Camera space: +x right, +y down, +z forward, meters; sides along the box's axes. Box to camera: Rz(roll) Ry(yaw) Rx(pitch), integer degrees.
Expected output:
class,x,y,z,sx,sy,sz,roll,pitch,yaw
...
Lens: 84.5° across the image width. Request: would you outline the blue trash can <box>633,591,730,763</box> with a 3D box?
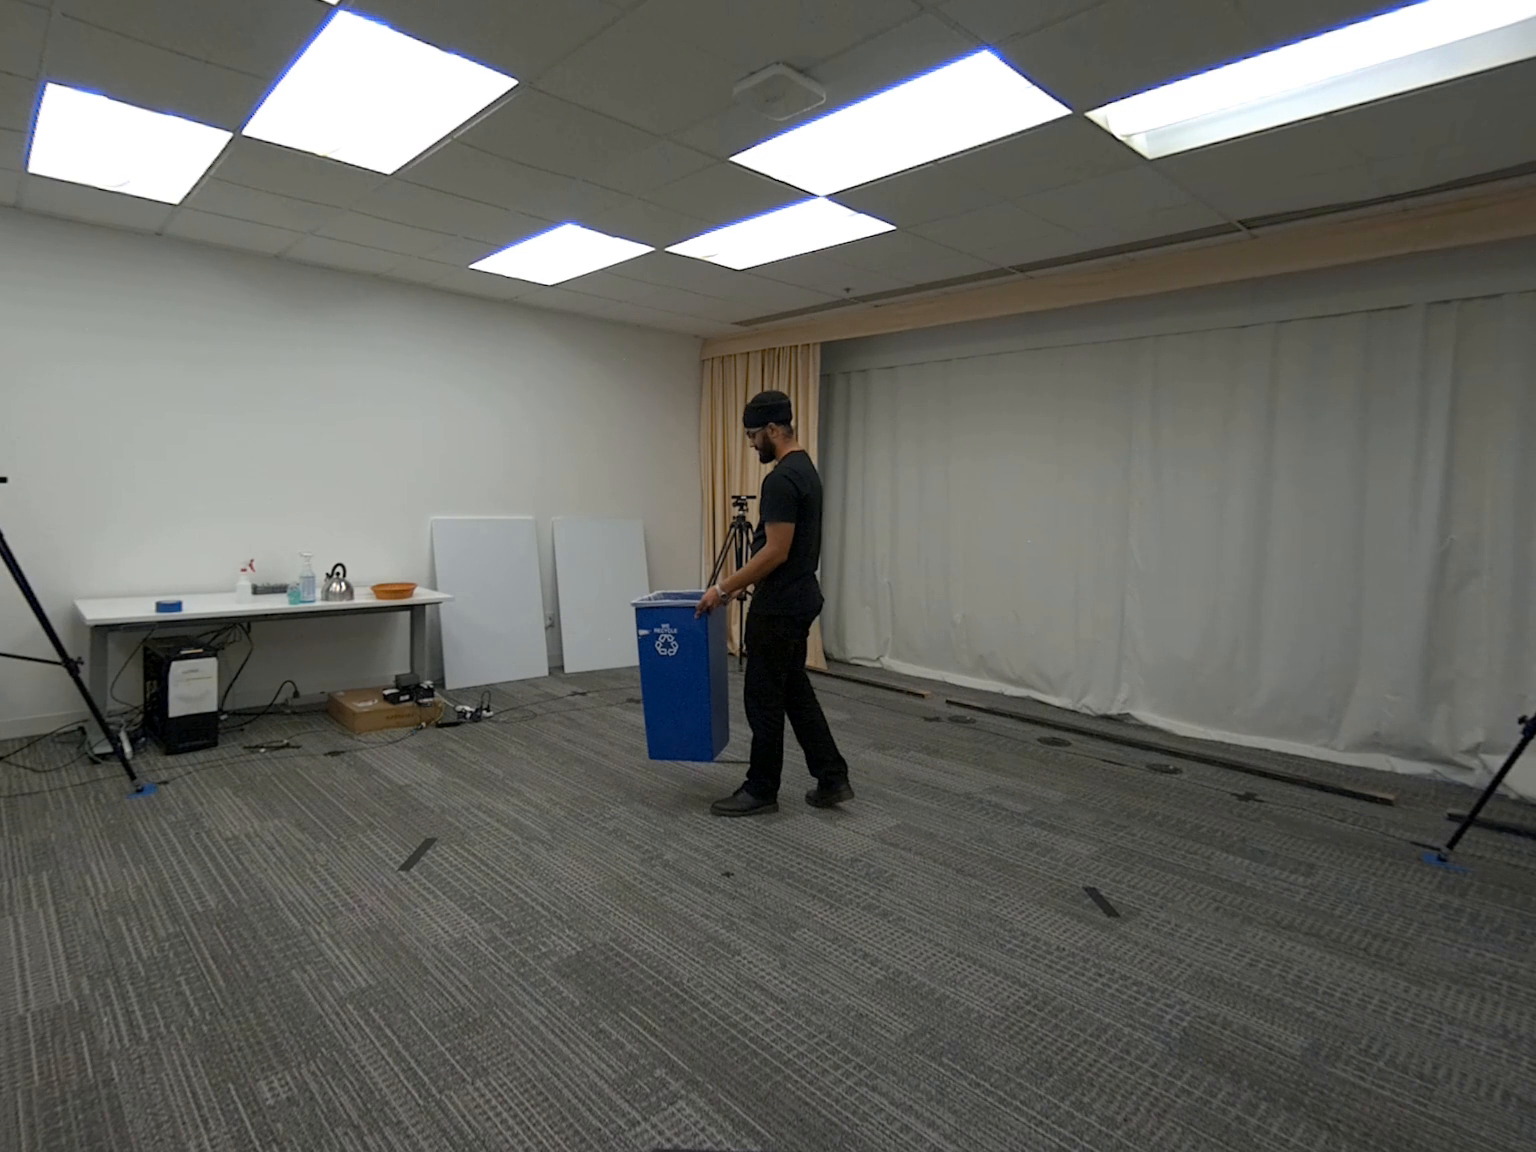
class,x,y,z,sx,sy,sz,roll,pitch,yaw
blue trash can,-0.376,0.442,3.828,0.378,0.711,0.375,-2,4,14
